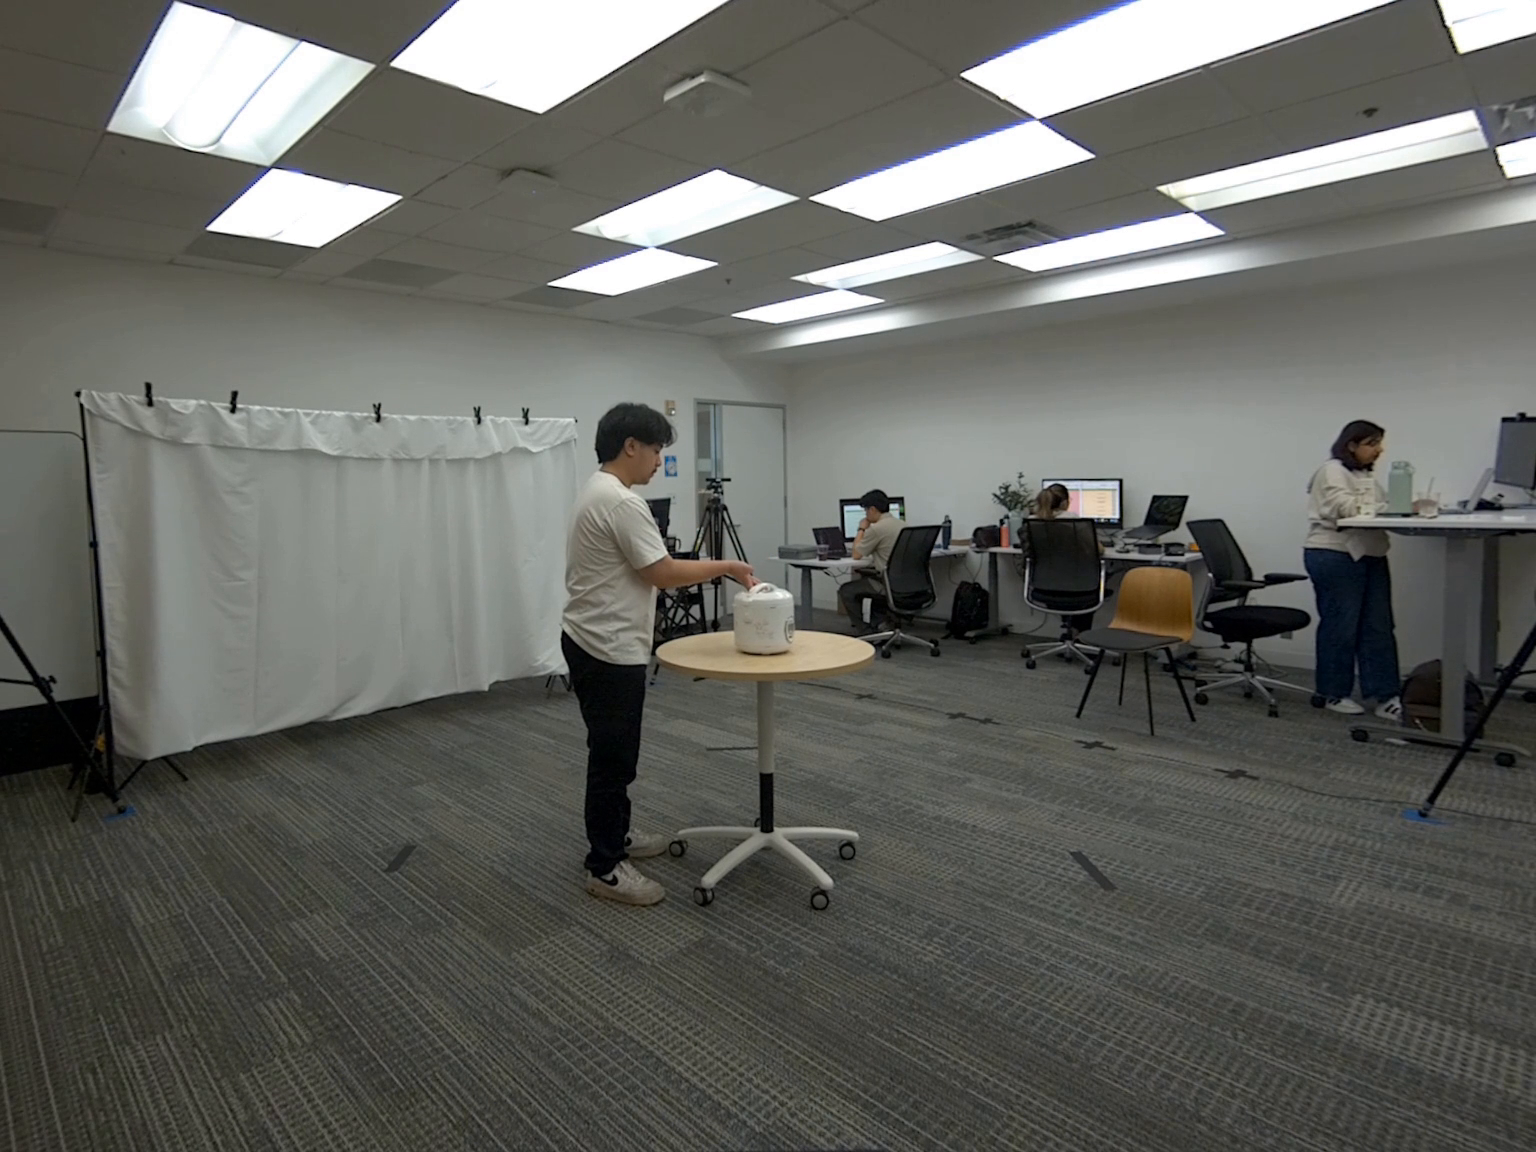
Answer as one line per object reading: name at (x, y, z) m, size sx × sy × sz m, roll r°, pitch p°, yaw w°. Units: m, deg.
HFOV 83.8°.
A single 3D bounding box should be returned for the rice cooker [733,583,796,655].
rice cooker at (-0.011, 0.137, 2.957) m, size 0.223 × 0.232 × 0.215 m, roll 1°, pitch 4°, yaw 35°
